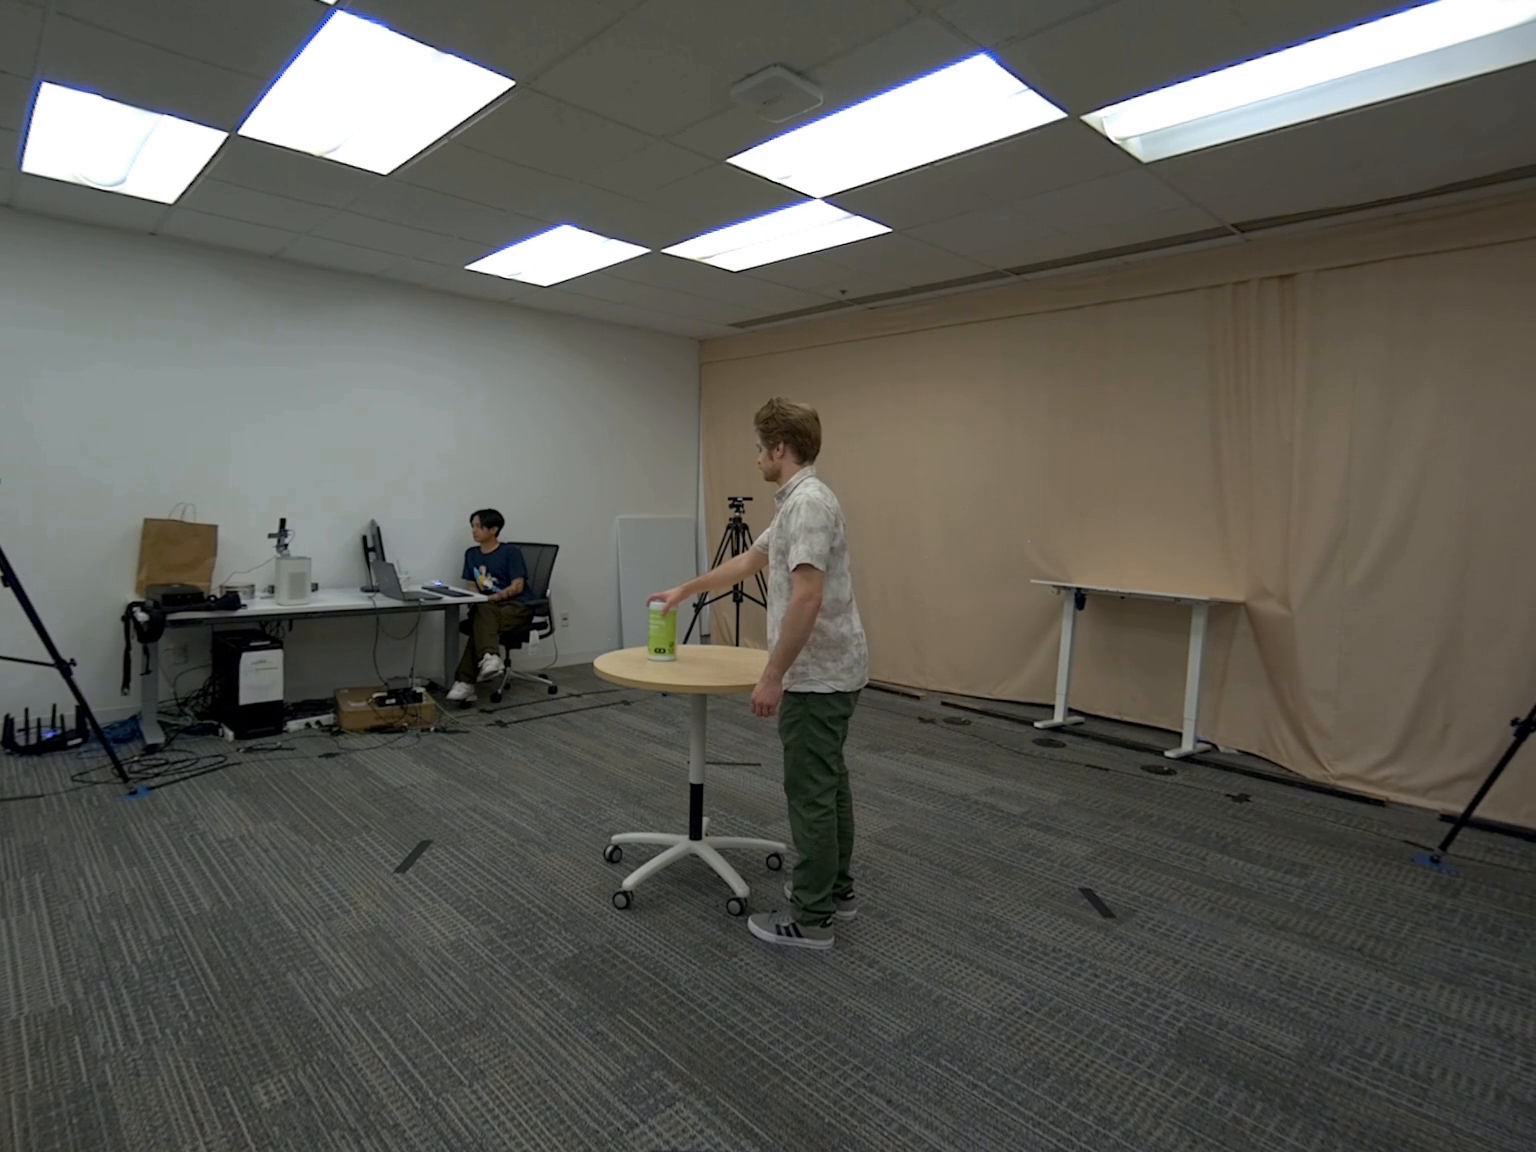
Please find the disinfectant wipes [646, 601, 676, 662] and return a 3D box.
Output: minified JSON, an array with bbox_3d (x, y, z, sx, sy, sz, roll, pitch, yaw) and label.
[{"bbox_3d":[-0.392,0.200,3.108,0.118,0.217,0.118,3,4,-2],"label":"disinfectant wipes"}]
